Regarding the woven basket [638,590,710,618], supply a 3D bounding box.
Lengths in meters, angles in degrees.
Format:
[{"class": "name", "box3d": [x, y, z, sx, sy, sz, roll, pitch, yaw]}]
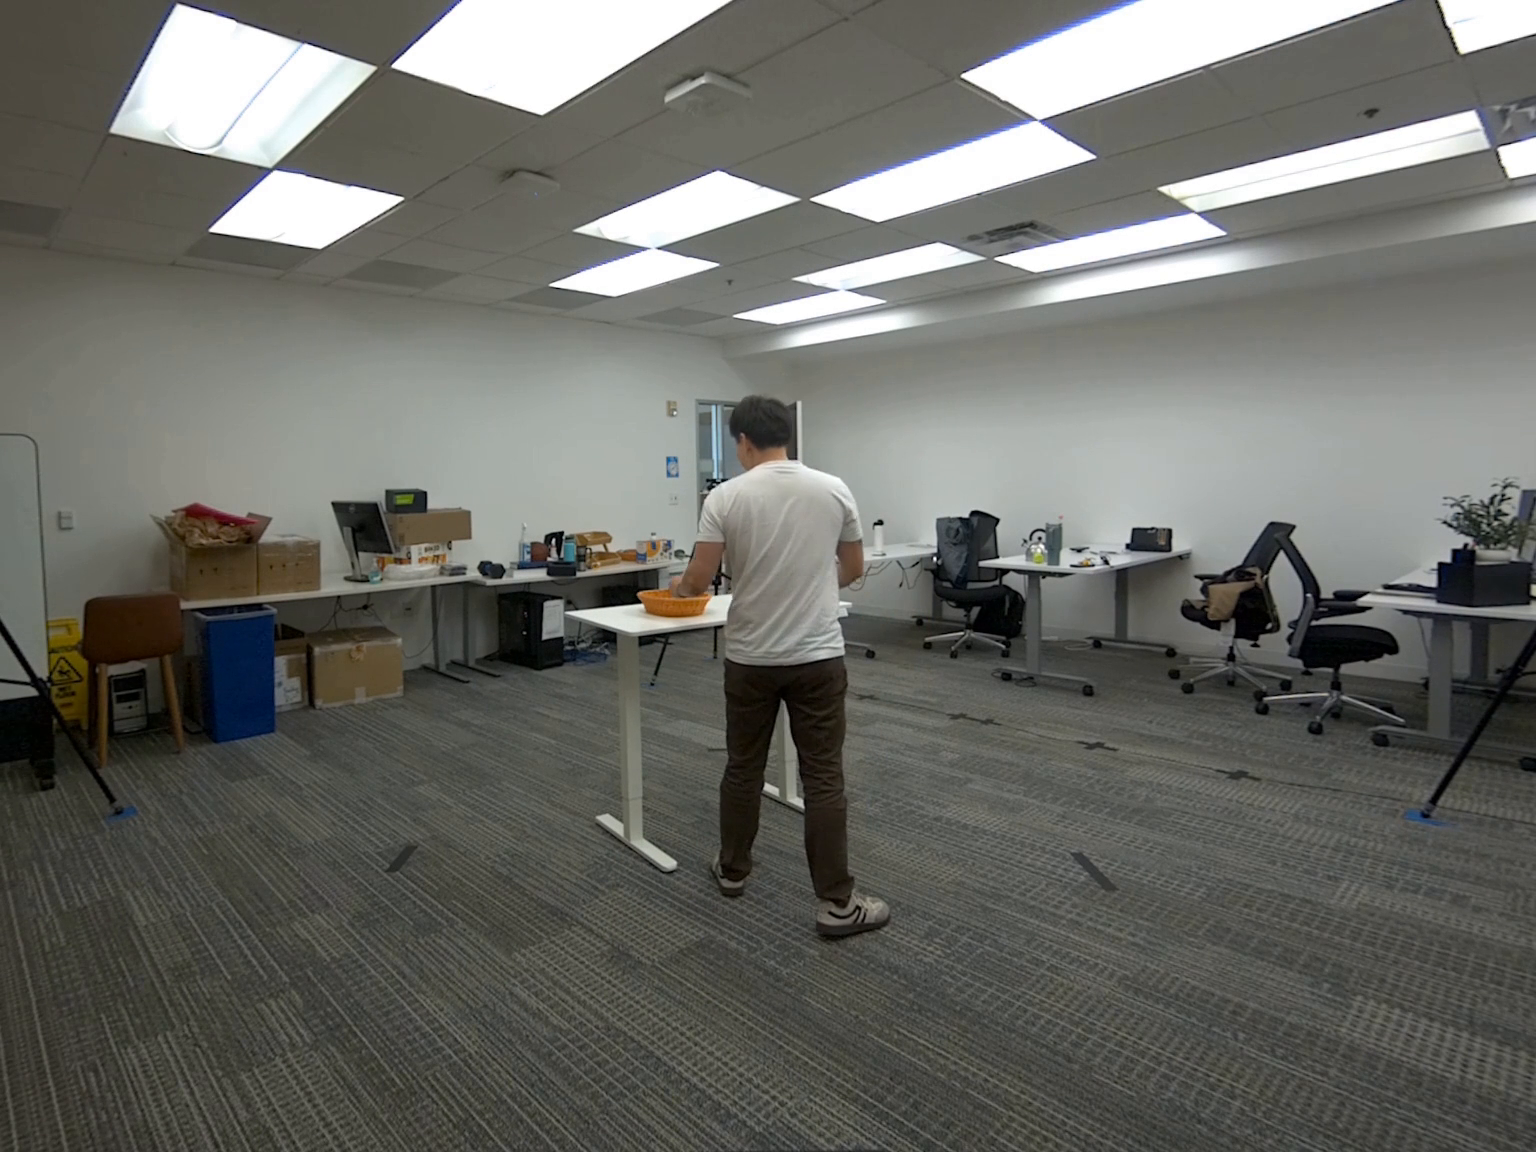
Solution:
[{"class": "woven basket", "box3d": [-0.369, 0.112, 3.357, 0.246, 0.073, 0.360, -4, 6, -30]}]
